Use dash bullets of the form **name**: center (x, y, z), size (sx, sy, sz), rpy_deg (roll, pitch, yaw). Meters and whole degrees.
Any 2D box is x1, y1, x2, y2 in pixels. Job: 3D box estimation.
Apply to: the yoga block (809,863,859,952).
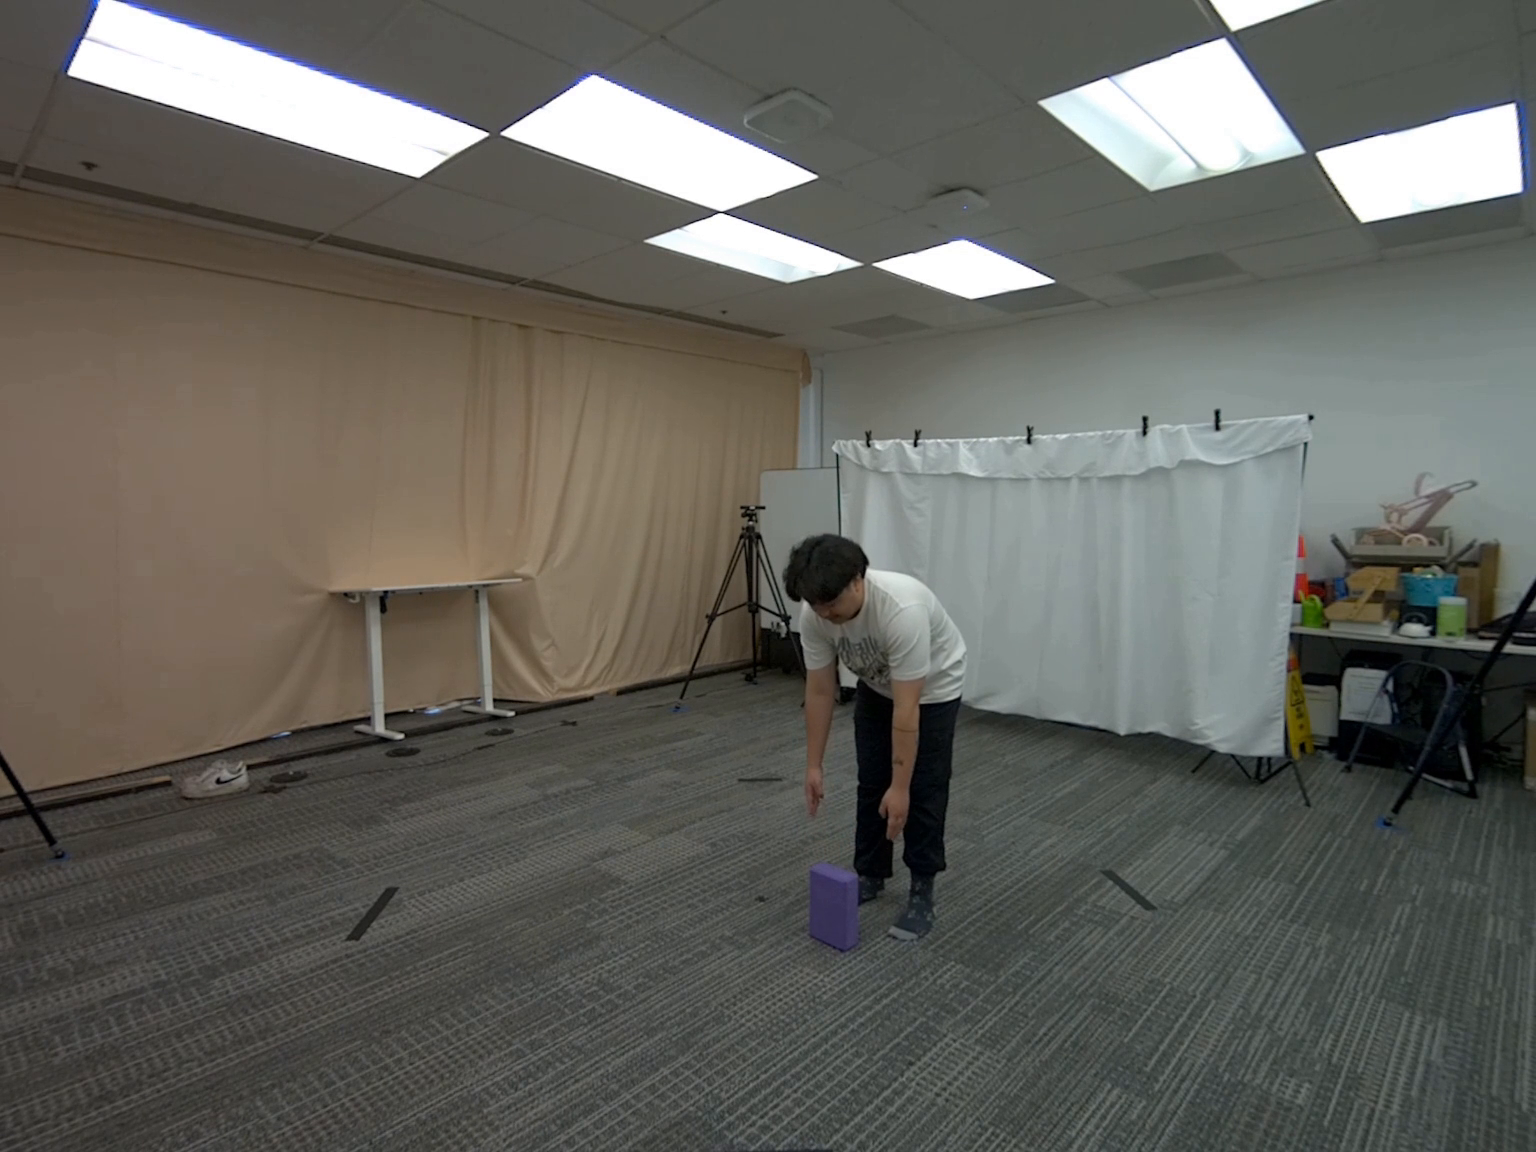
- **yoga block**: center (0.217, 1.054, 2.685), size (0.154, 0.229, 0.074), rpy_deg (5, 5, 42)
